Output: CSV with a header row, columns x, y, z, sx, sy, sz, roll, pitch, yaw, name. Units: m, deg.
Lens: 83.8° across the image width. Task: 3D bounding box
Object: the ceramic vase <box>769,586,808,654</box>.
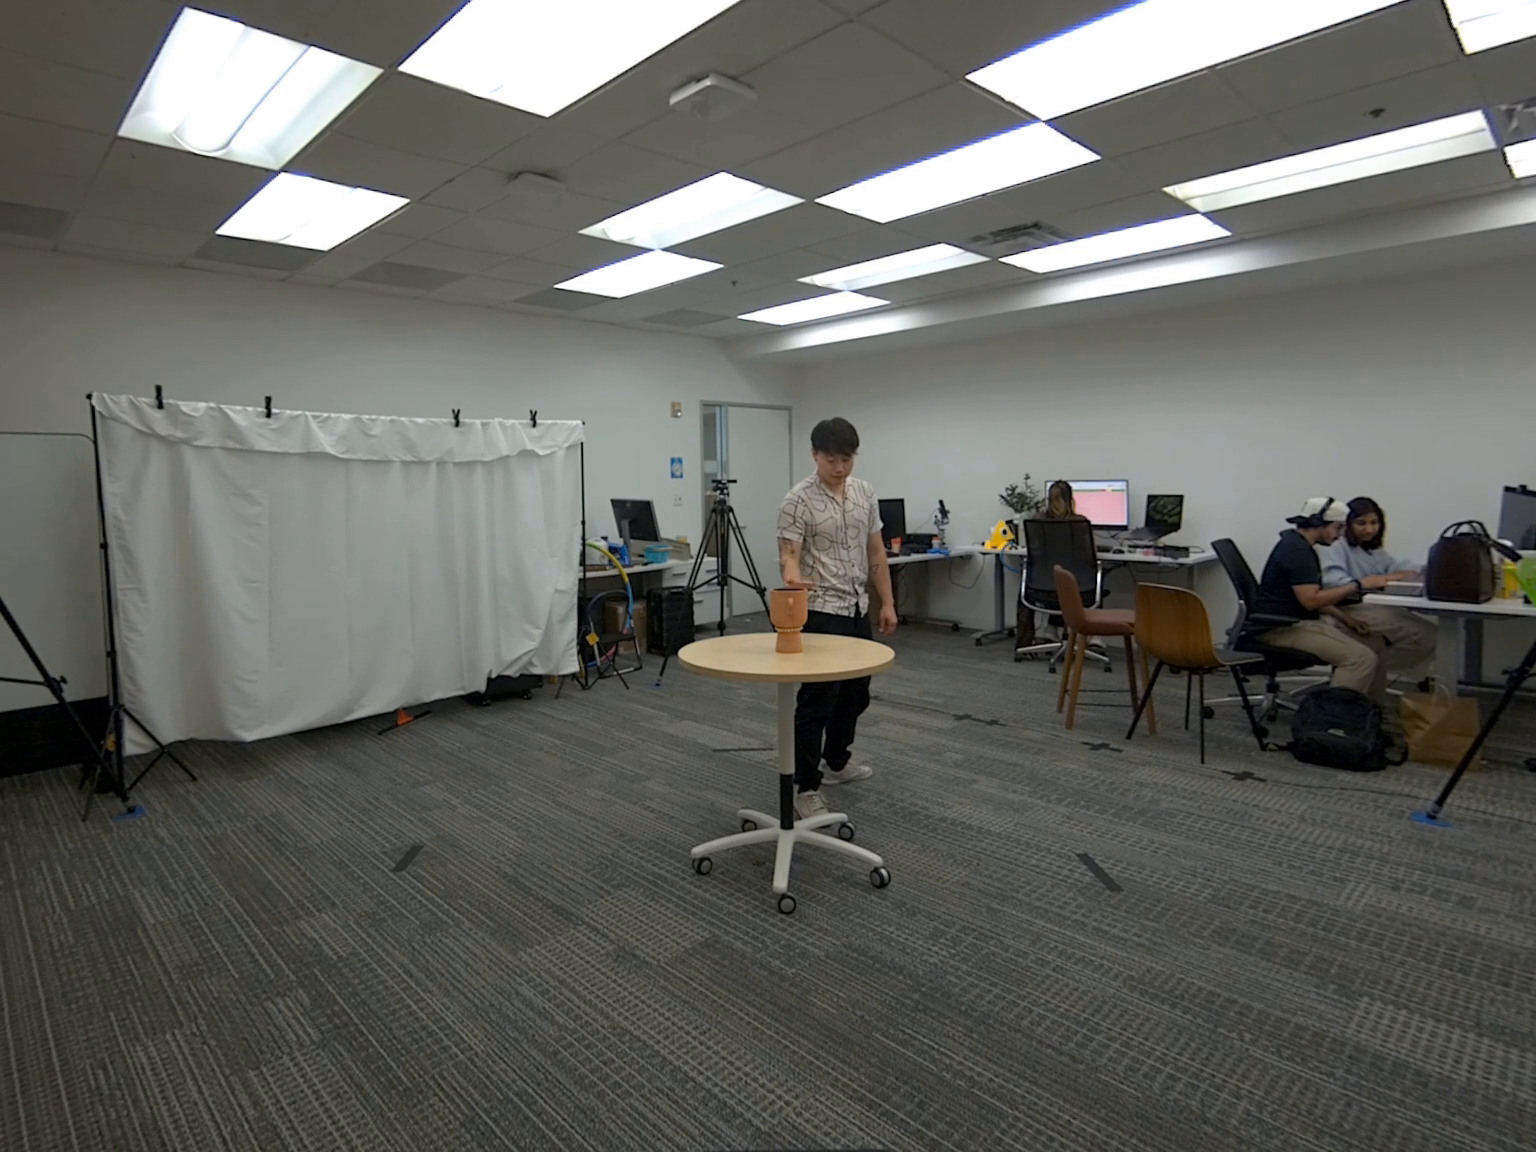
x,y,z,sx,sy,sz,roll,pitch,yaw,name
0.074,0.159,3.048,0.138,0.219,0.155,0,3,40,ceramic vase
